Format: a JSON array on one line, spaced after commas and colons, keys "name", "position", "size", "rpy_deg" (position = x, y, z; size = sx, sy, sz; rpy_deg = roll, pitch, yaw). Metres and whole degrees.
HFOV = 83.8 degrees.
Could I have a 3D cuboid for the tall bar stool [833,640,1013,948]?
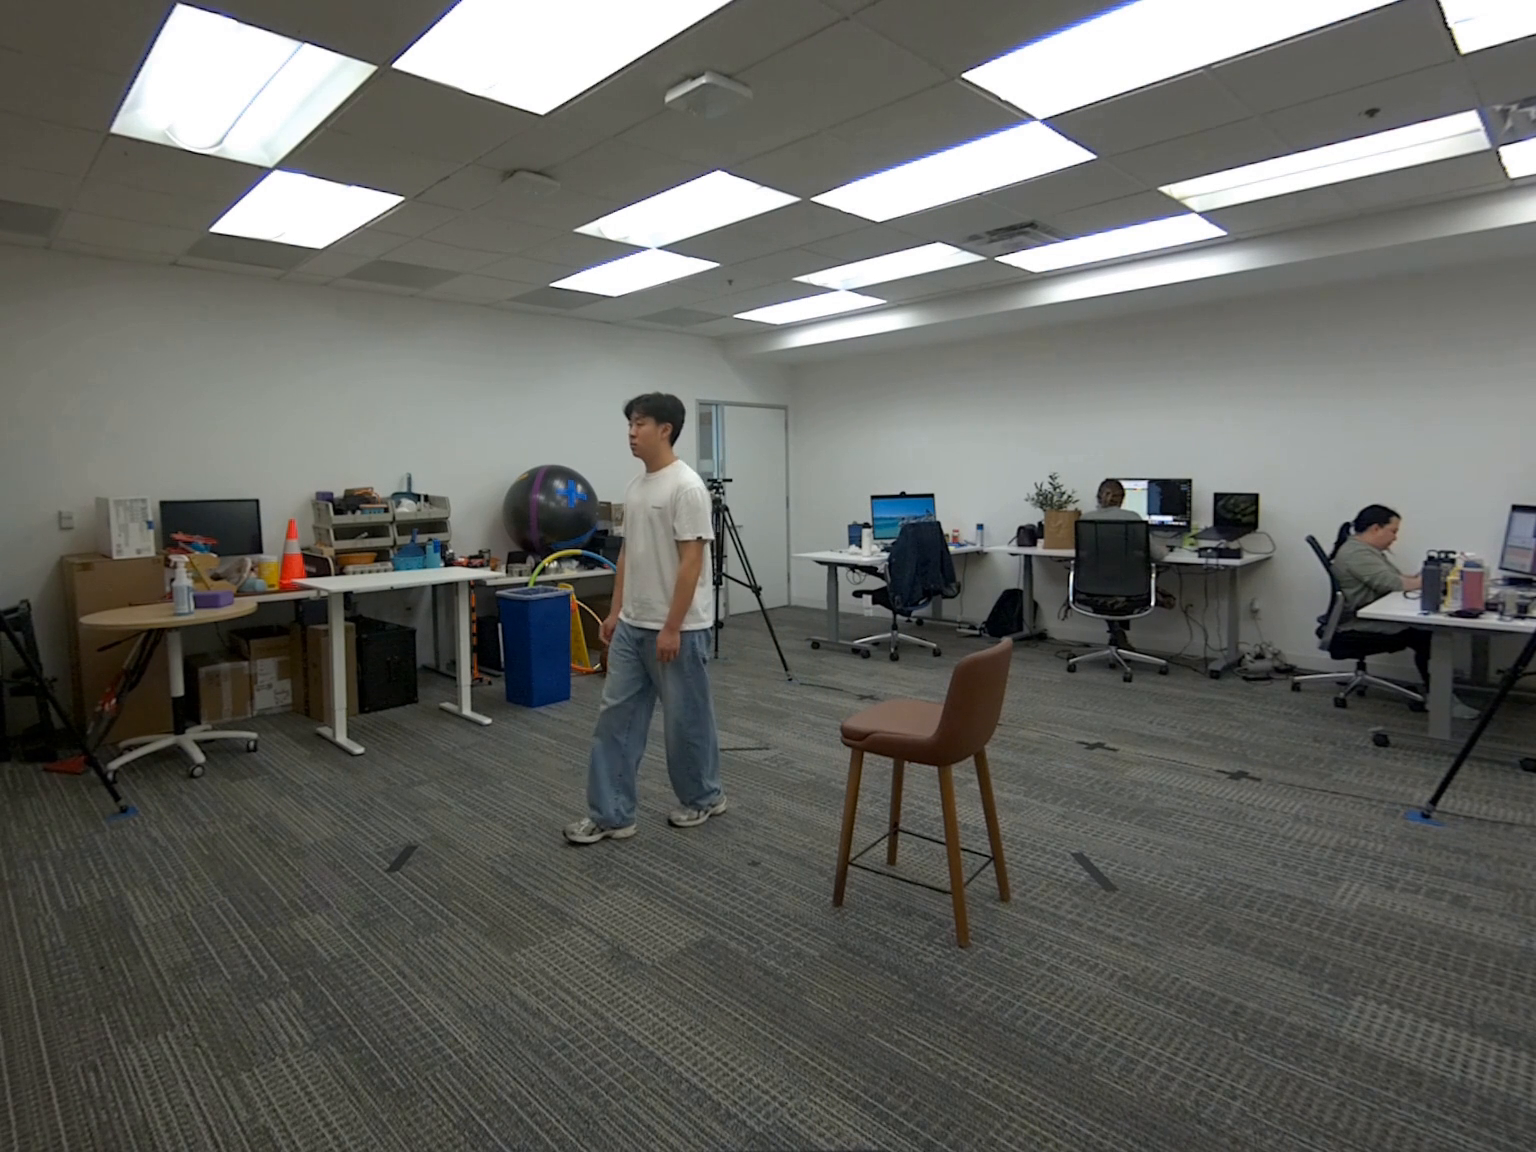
[{"name": "tall bar stool", "position": [0.514, 0.639, 2.772], "size": [0.482, 0.885, 0.445], "rpy_deg": [5, 7, 37]}]
